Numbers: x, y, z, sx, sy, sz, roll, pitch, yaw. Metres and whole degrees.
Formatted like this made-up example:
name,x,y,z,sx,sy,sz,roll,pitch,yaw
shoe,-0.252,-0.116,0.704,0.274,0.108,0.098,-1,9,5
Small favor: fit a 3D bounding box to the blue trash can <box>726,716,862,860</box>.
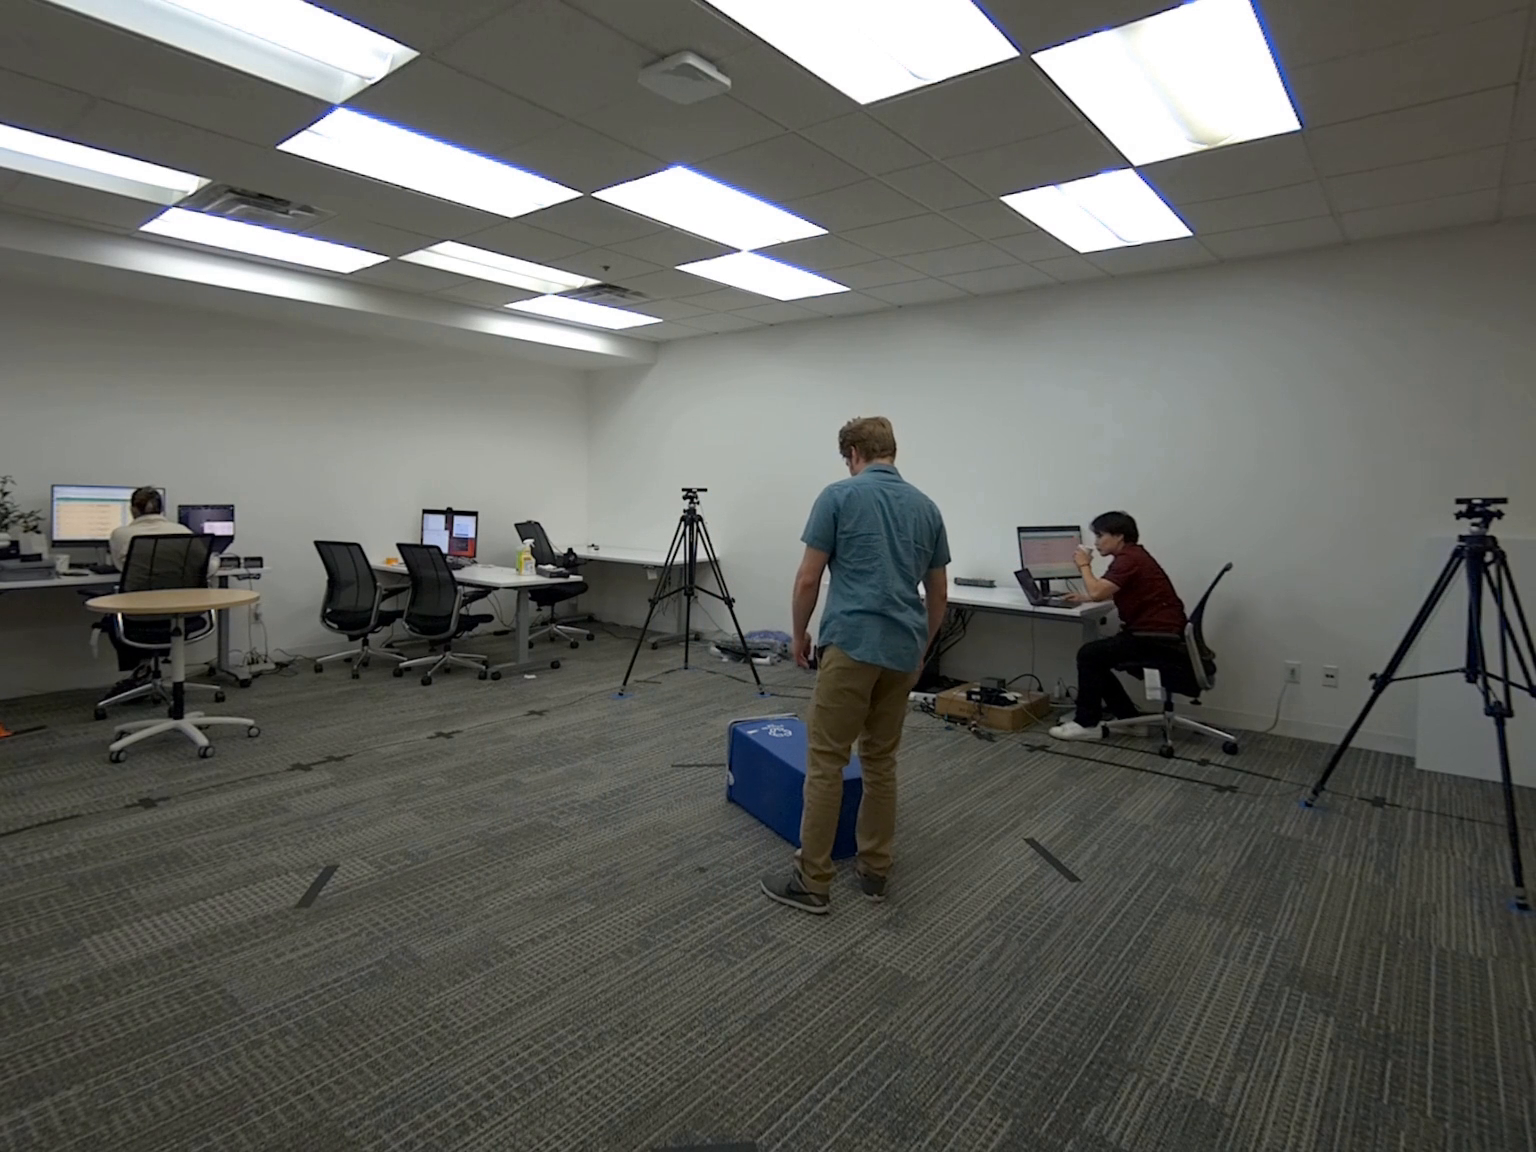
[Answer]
name,x,y,z,sx,sy,sz,roll,pitch,yaw
blue trash can,0.136,0.866,3.546,0.364,0.376,0.736,-2,8,-29
